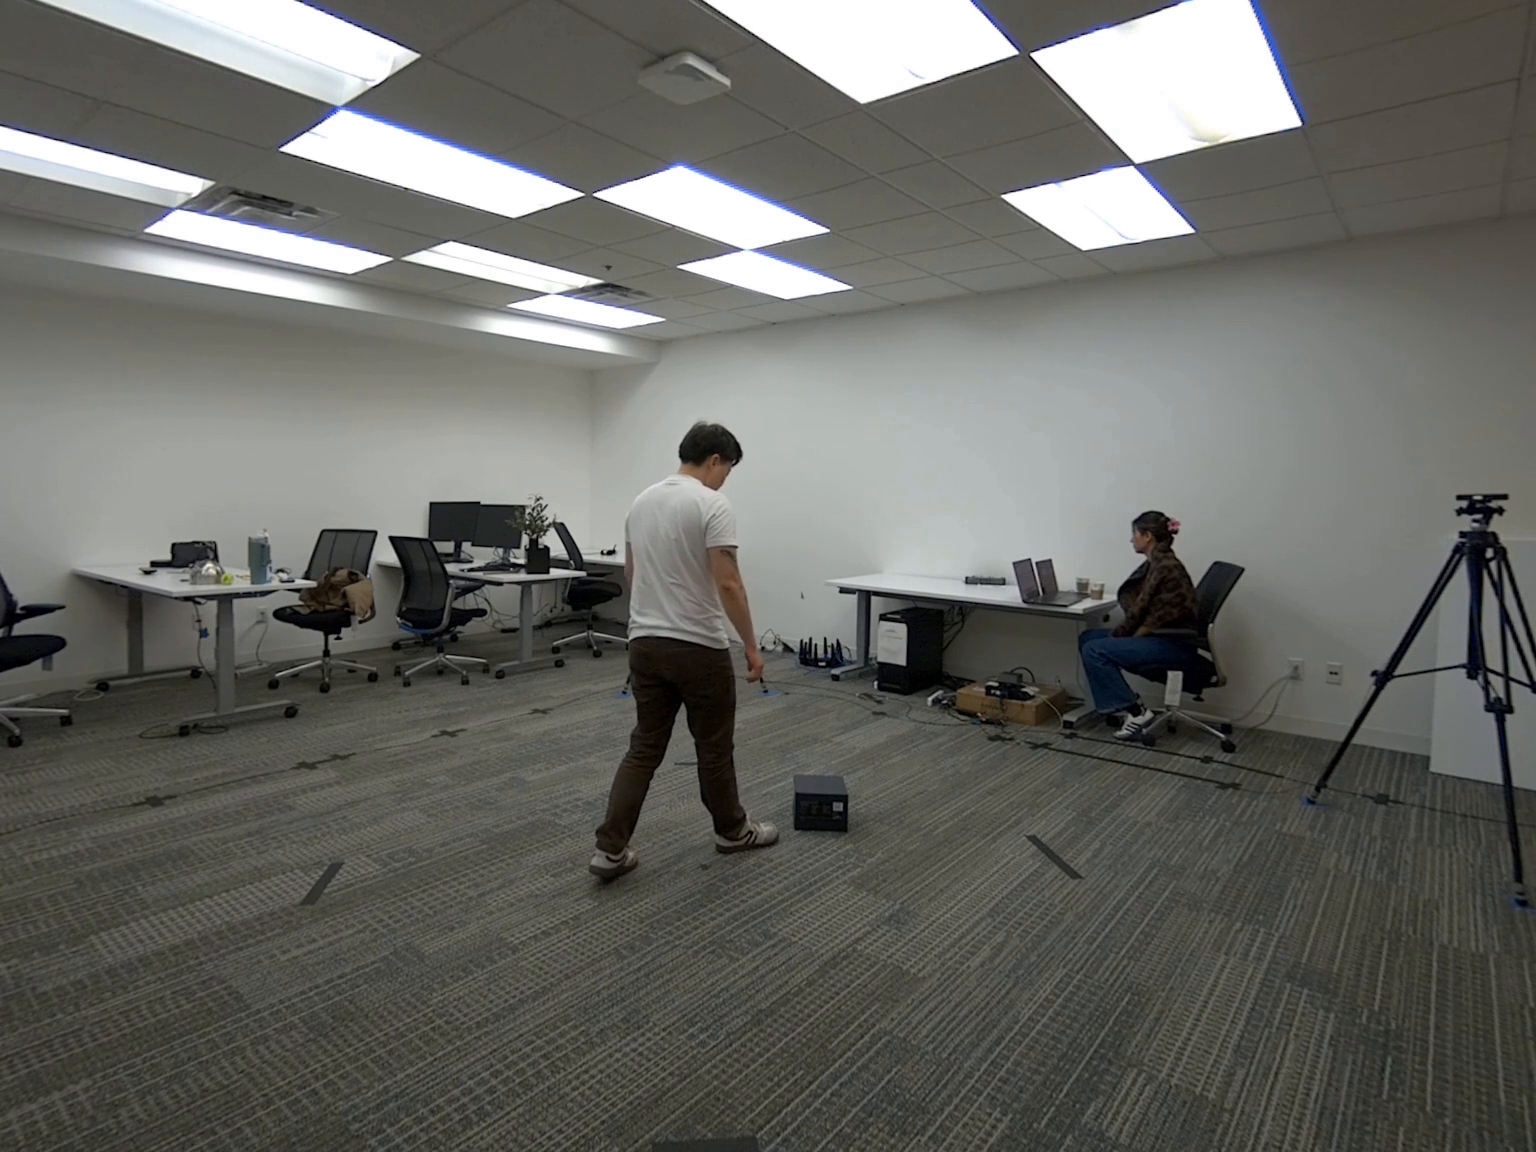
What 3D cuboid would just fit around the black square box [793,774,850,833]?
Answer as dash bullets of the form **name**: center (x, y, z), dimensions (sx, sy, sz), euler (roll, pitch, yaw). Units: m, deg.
- **black square box**: center (0.207, 0.939, 3.571), dimensions (0.217, 0.155, 0.228), euler (1, 5, 1)
